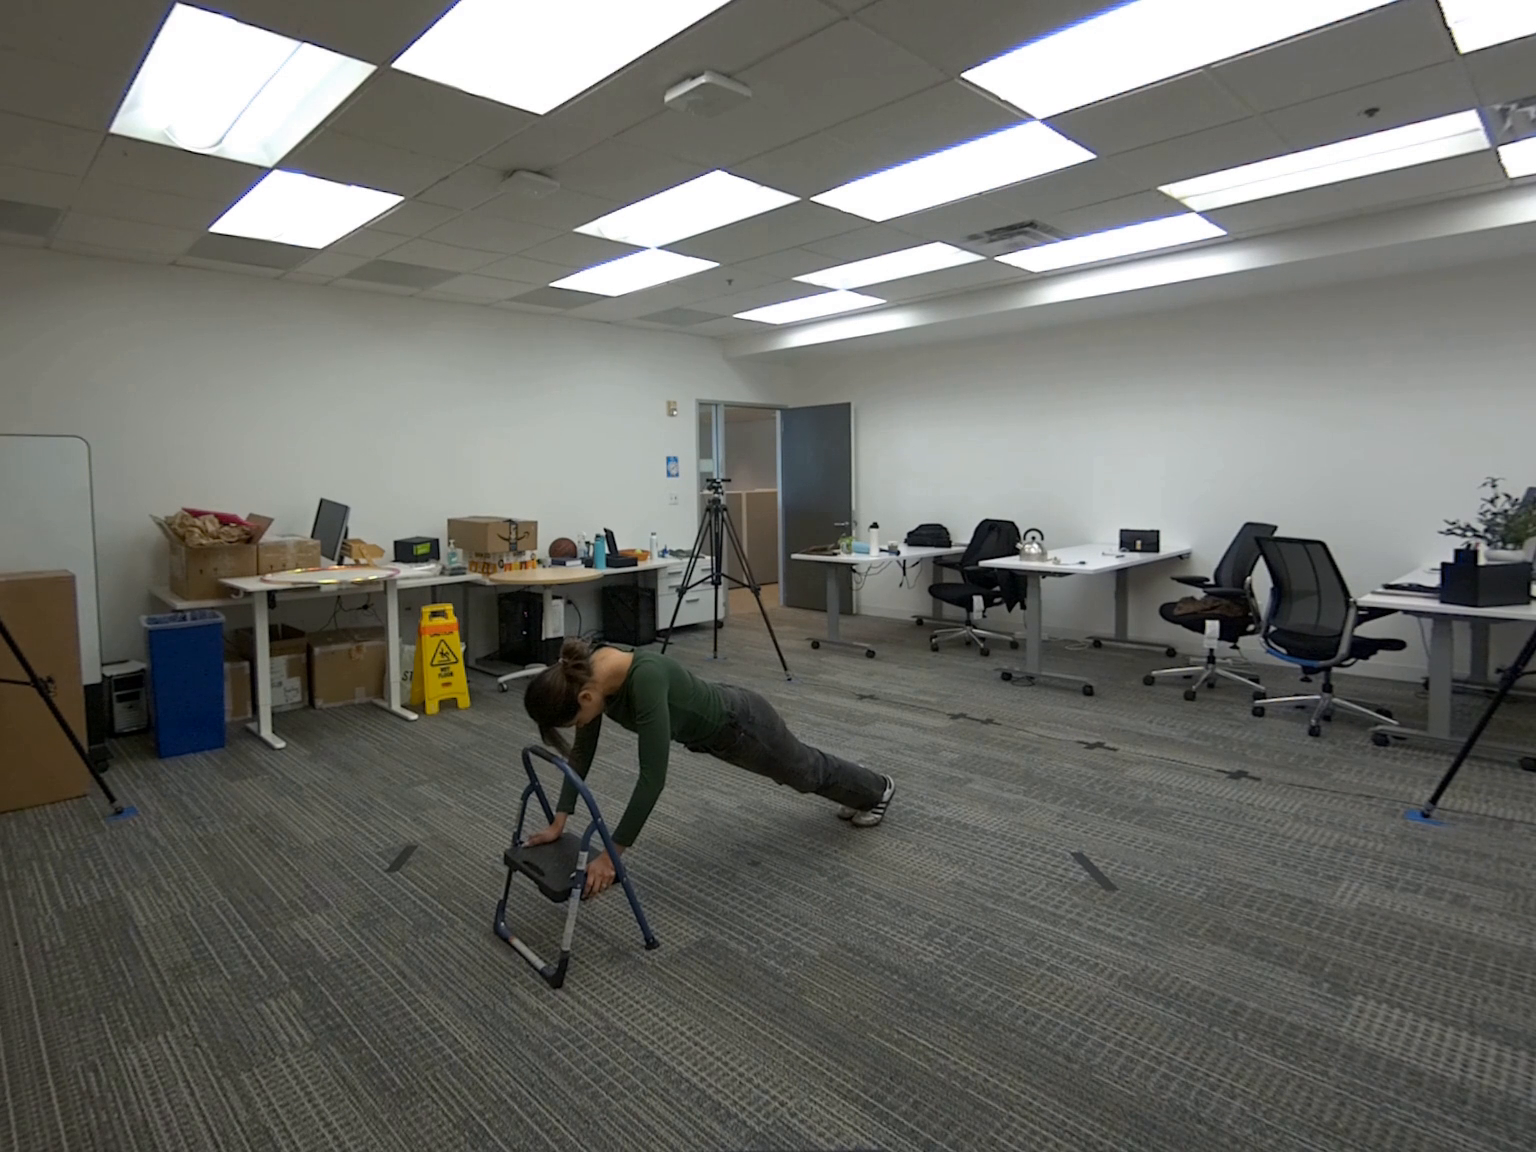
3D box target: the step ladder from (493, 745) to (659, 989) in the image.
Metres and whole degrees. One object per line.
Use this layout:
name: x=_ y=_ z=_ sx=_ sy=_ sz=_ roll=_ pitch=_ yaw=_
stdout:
step ladder: x=-0.600 y=0.813 z=2.602 sx=0.340 sy=0.603 sz=0.444 roll=-5 pitch=6 yaw=-41
